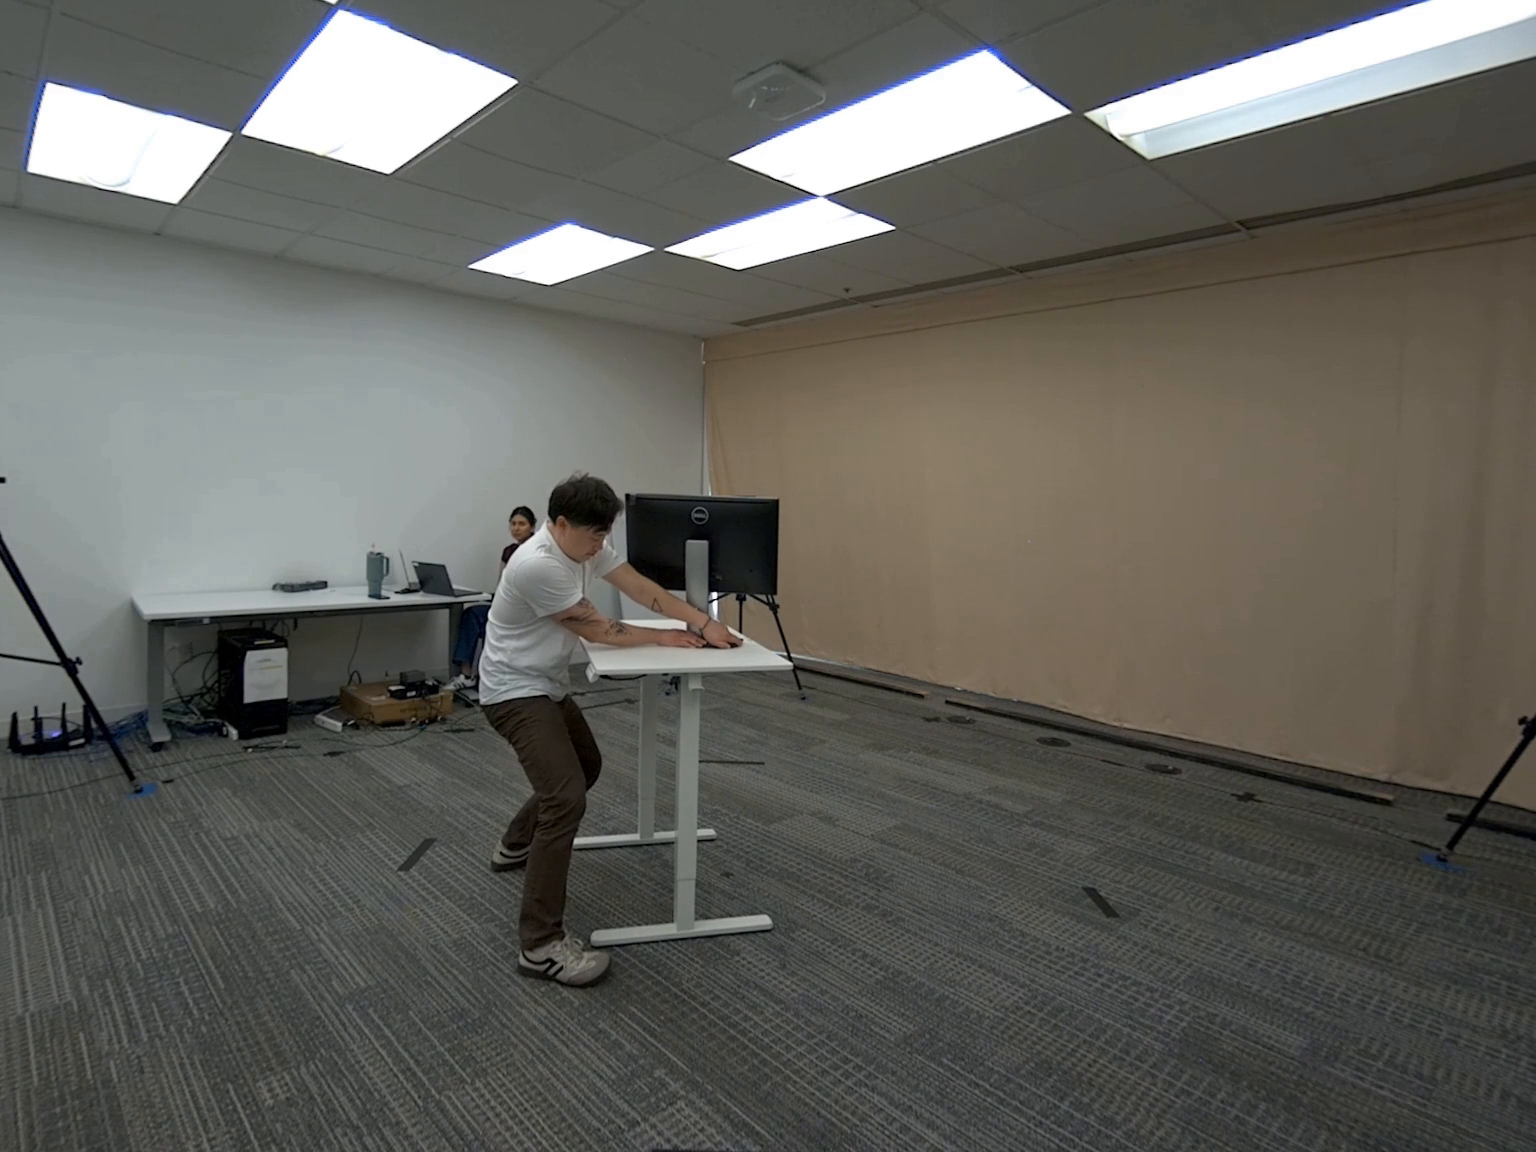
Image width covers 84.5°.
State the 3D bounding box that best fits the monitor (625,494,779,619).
[{"bbox_3d":[-0.234,-0.014,2.906,0.542,0.520,0.187,2,5,6],"label":"monitor"}]
